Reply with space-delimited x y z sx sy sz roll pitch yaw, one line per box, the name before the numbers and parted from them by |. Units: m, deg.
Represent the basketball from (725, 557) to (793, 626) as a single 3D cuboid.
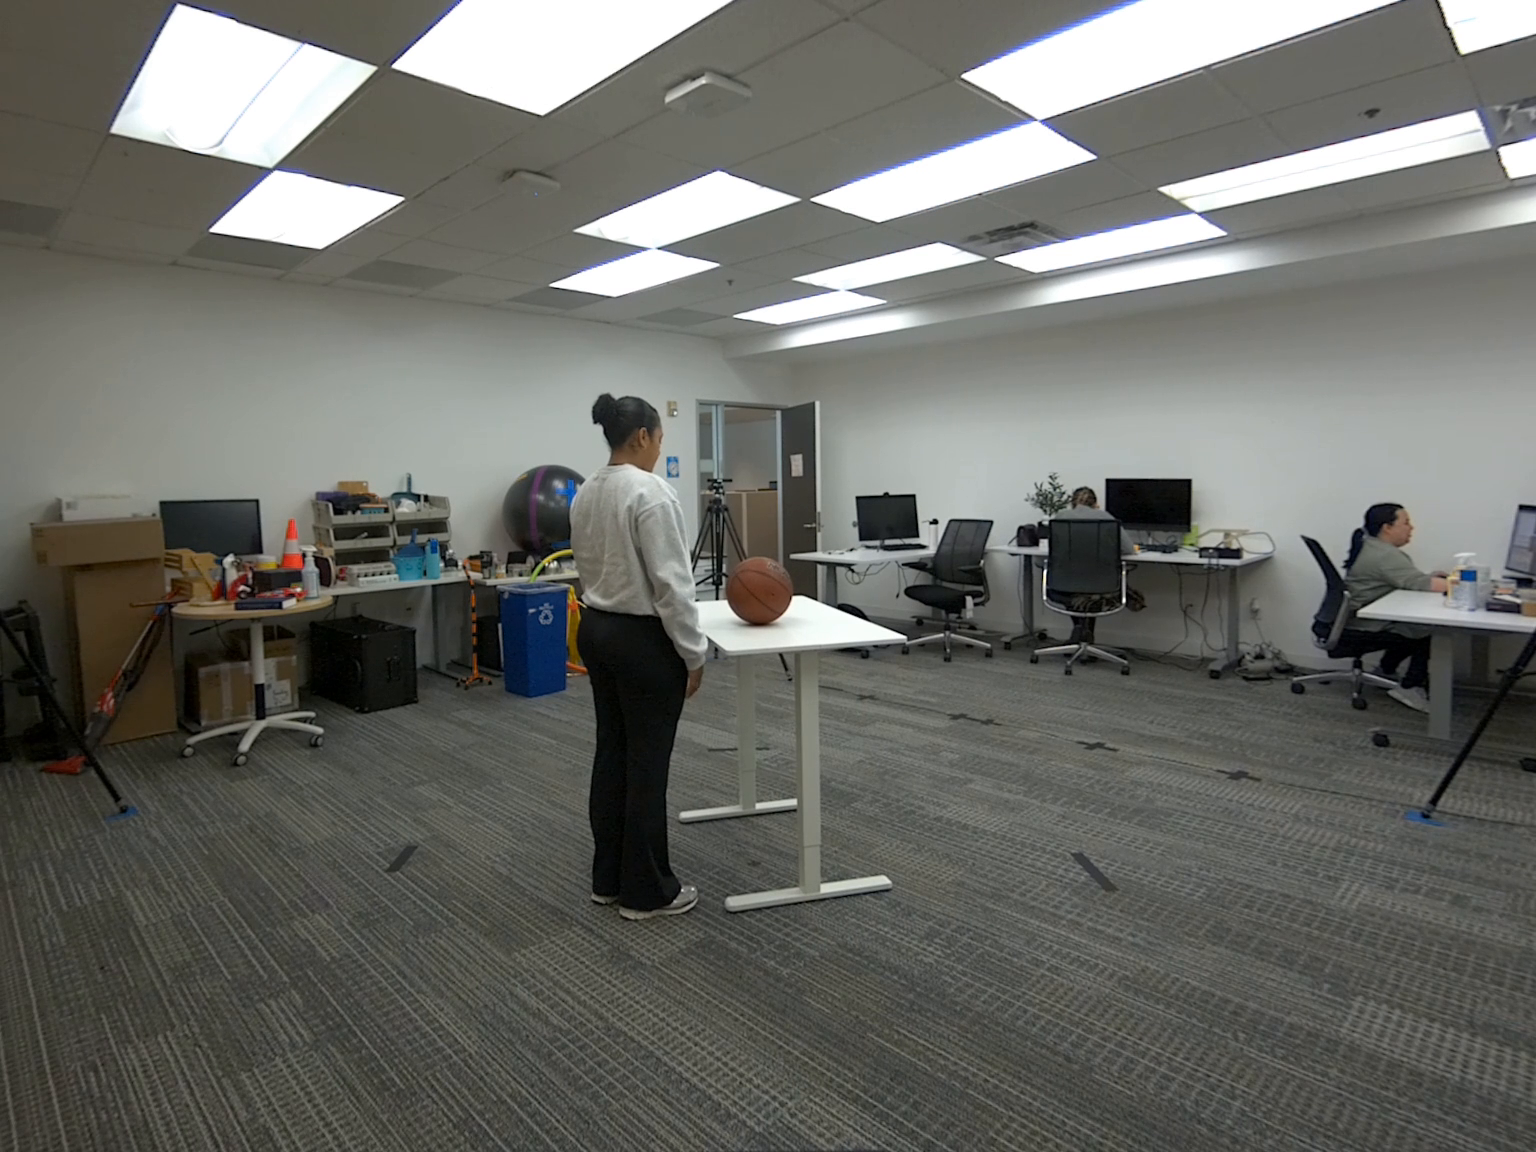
basketball | -0.029 0.051 3.040 0.236 0.235 0.237 -1 5 -2
